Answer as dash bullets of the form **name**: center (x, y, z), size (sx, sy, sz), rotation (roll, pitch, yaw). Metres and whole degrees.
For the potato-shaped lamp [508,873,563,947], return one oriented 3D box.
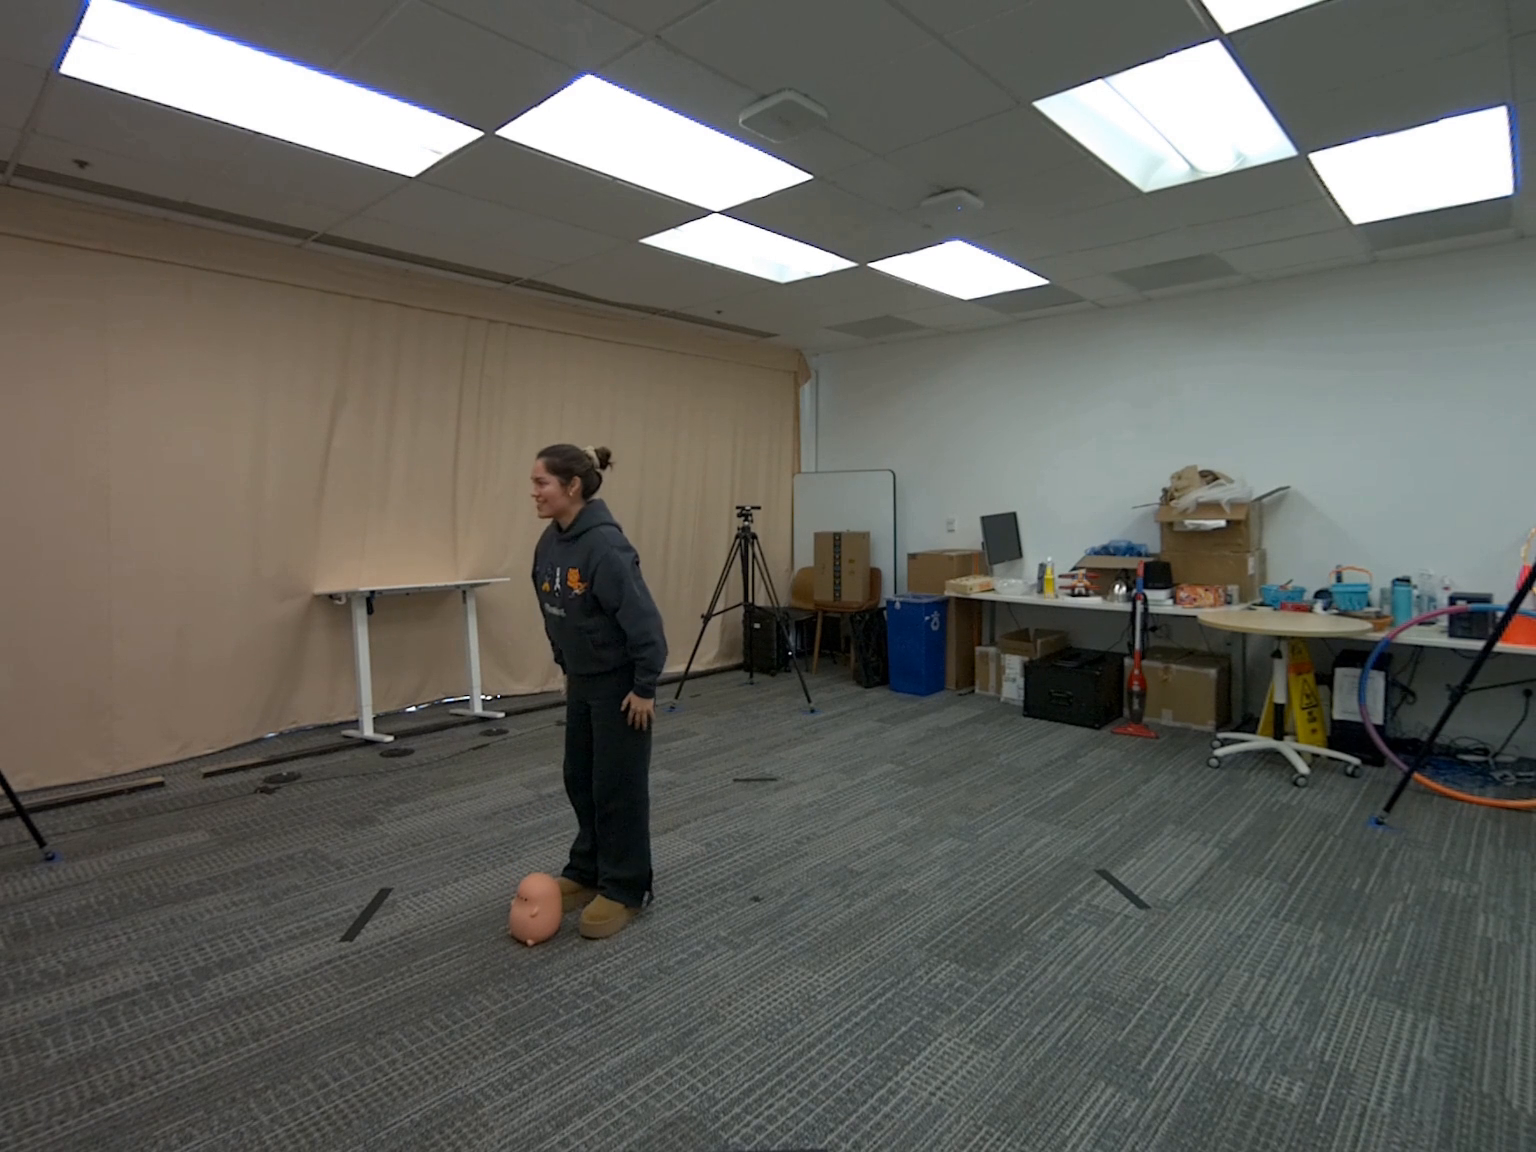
- **potato-shaped lamp**: center (-0.737, 1.072, 2.742), size (0.170, 0.197, 0.166), rotation (2, 5, 36)
